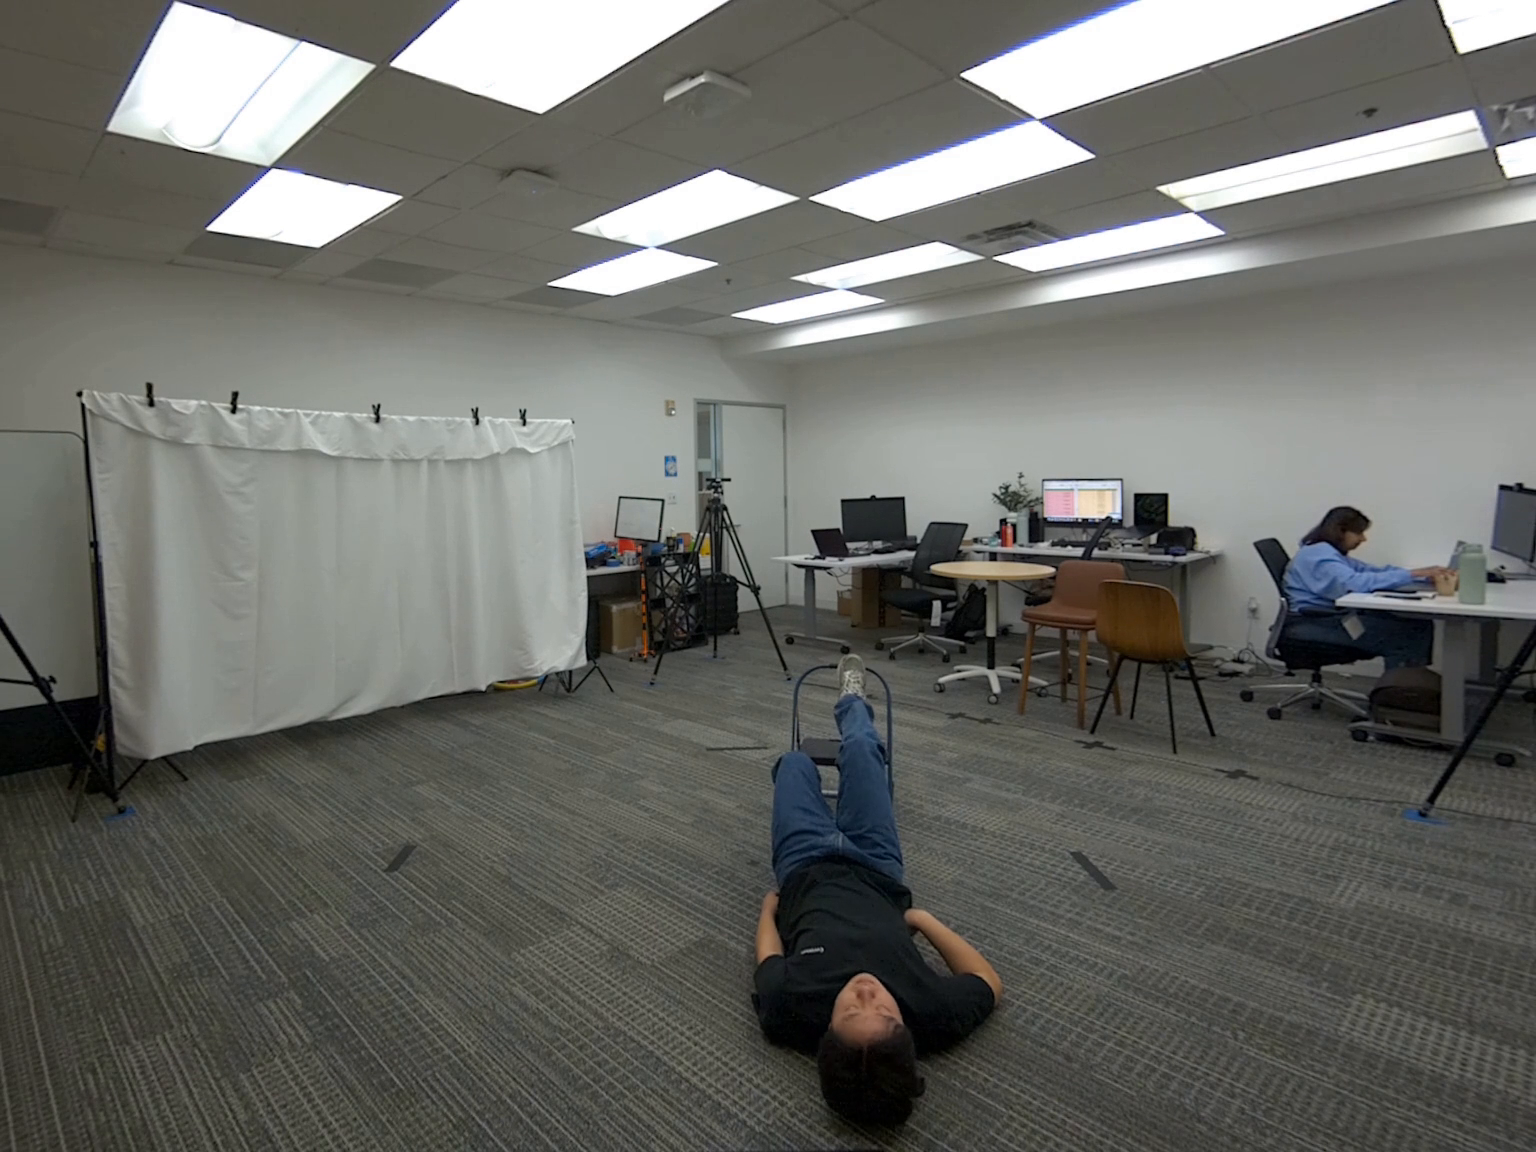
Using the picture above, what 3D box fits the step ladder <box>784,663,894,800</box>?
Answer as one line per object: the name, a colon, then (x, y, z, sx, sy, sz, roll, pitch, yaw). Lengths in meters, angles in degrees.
step ladder: (0.313, 0.684, 3.553, 0.434, 0.603, 0.348, 1, 5, 8)
